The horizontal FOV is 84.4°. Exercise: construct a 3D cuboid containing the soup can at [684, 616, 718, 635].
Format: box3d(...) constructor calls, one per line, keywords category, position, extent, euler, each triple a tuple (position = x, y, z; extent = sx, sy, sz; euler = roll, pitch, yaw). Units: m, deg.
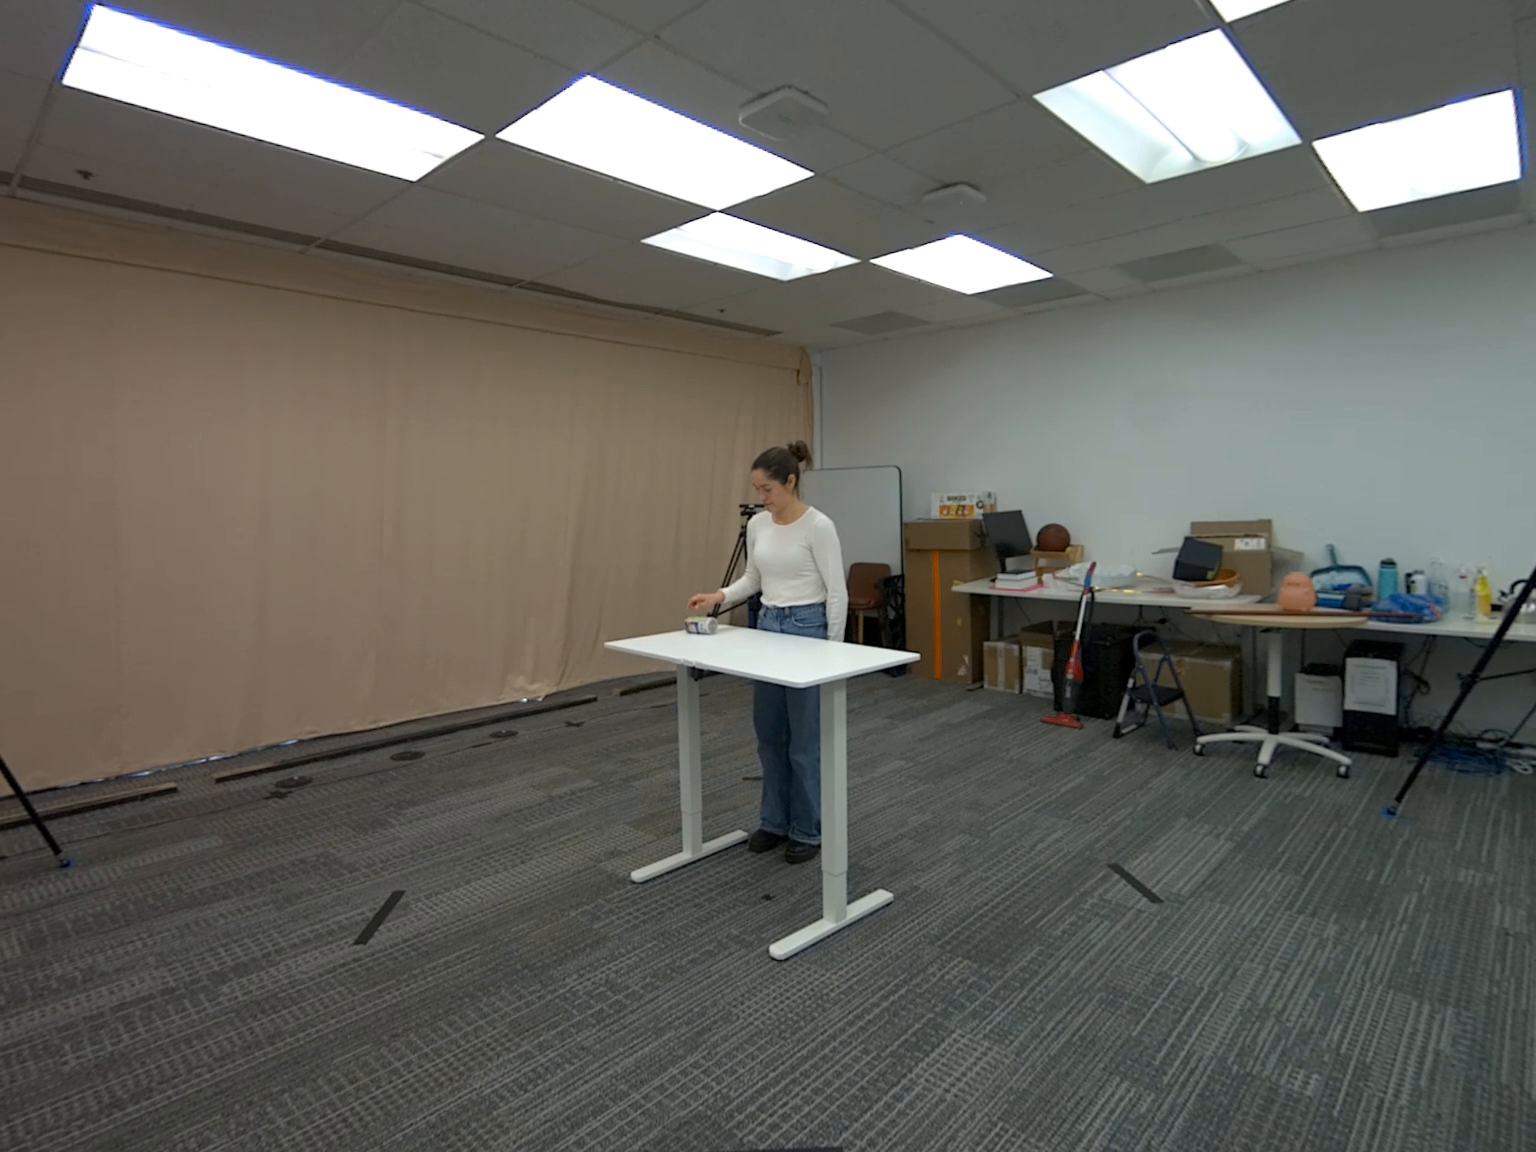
box3d(category="soup can", position=(-0.257, 0.198, 3.338), extent=(0.125, 0.067, 0.065), euler=(0, 4, 26))
